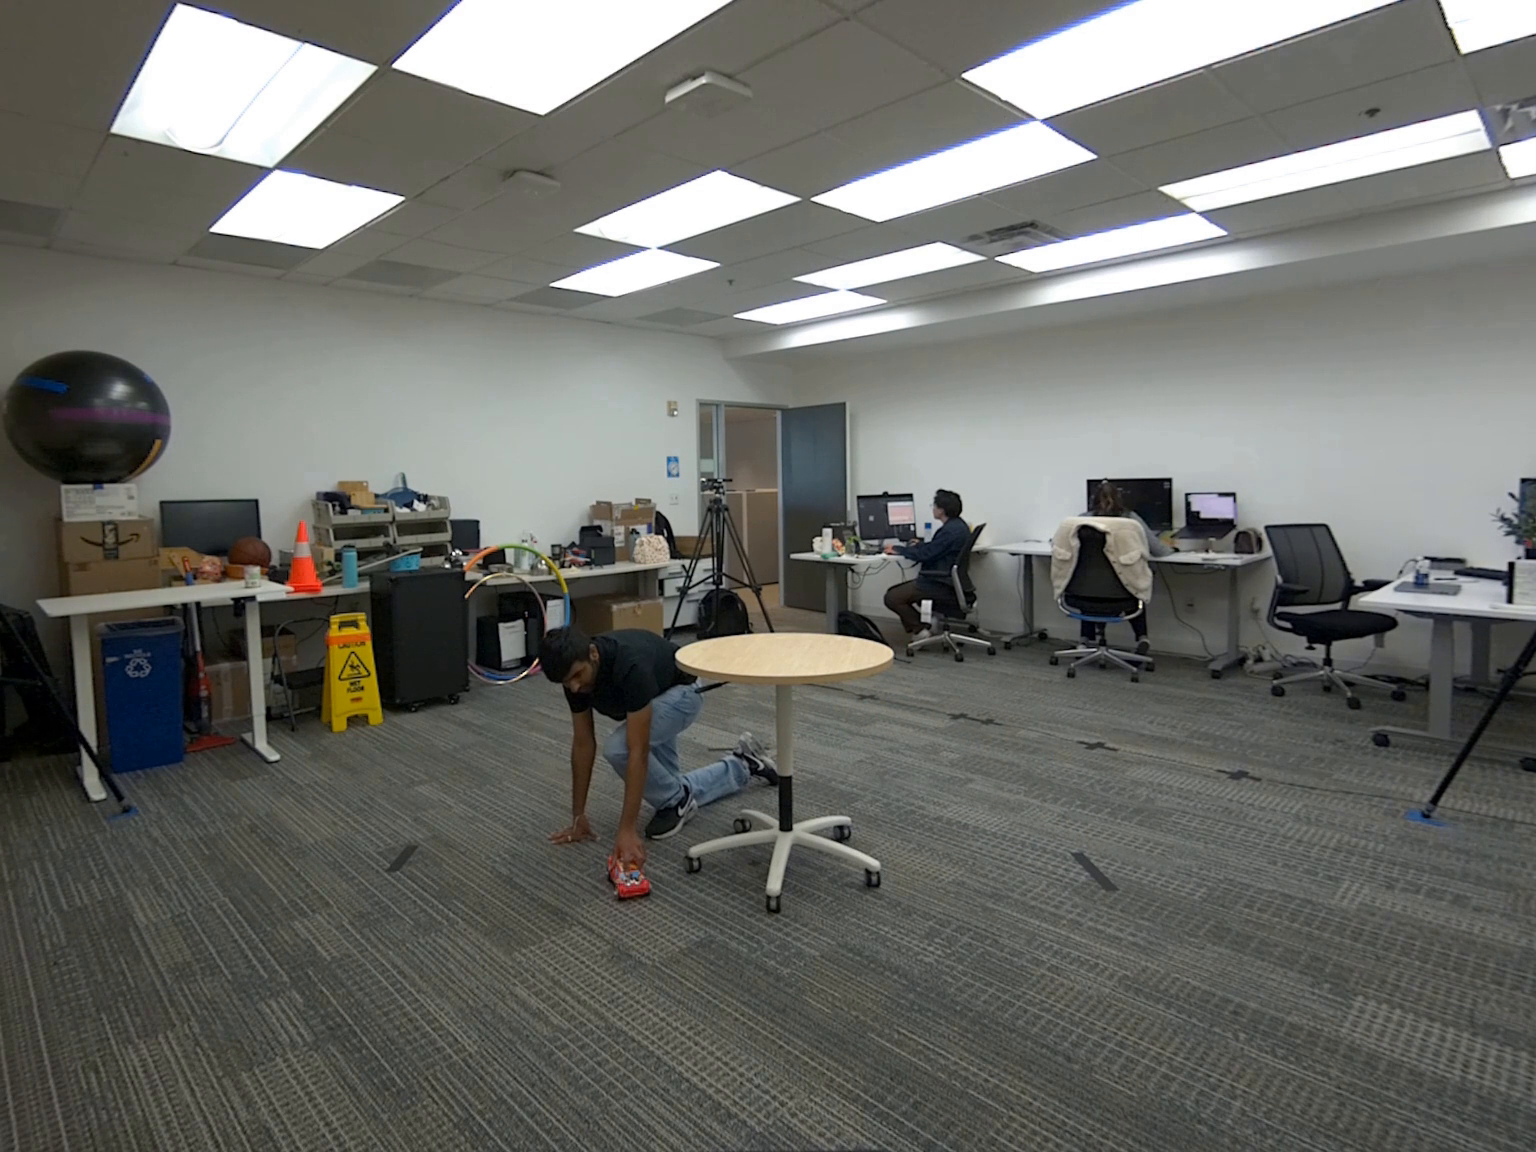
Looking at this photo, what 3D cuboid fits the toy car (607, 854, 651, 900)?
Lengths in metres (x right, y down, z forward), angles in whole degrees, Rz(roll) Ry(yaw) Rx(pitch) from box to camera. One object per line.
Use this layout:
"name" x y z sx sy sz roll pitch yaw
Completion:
"toy car" -0.502 1.046 2.958 0.128 0.082 0.262 -5 16 -21
